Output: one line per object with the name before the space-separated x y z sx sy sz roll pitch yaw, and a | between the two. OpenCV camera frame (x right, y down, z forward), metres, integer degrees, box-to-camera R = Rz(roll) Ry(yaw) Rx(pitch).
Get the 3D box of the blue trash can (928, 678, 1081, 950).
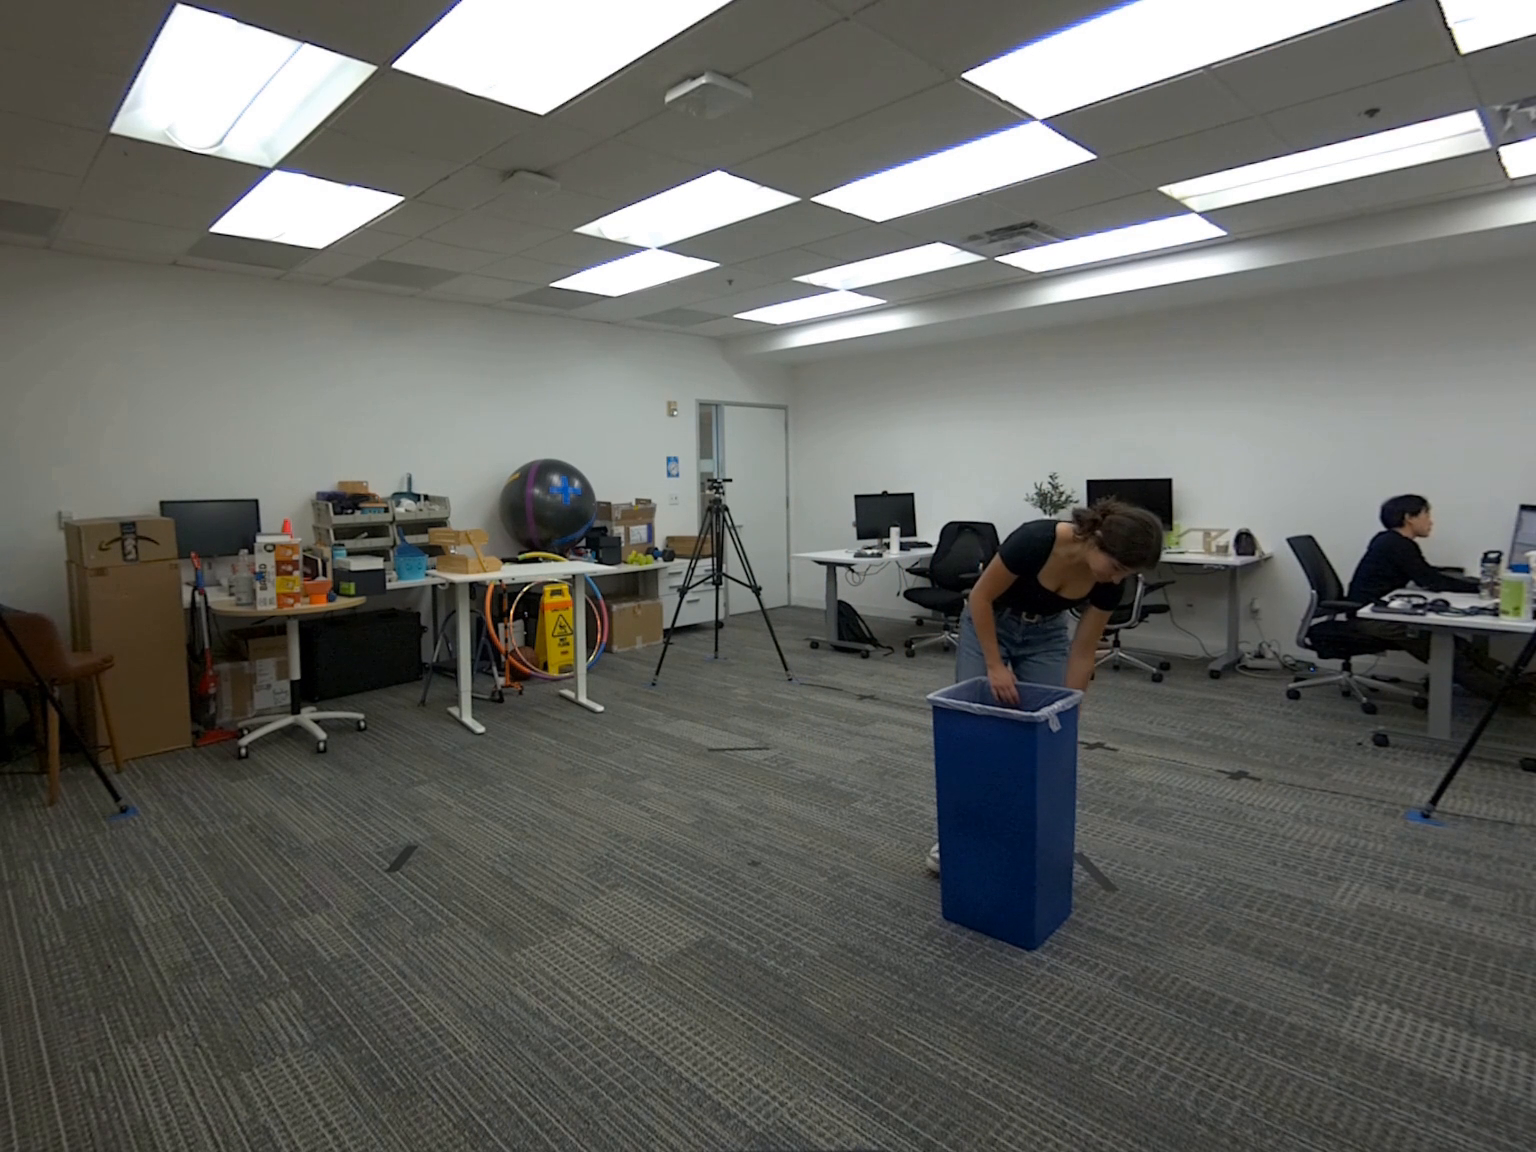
blue trash can | 0.751 0.726 2.671 0.389 0.711 0.364 2 4 42
